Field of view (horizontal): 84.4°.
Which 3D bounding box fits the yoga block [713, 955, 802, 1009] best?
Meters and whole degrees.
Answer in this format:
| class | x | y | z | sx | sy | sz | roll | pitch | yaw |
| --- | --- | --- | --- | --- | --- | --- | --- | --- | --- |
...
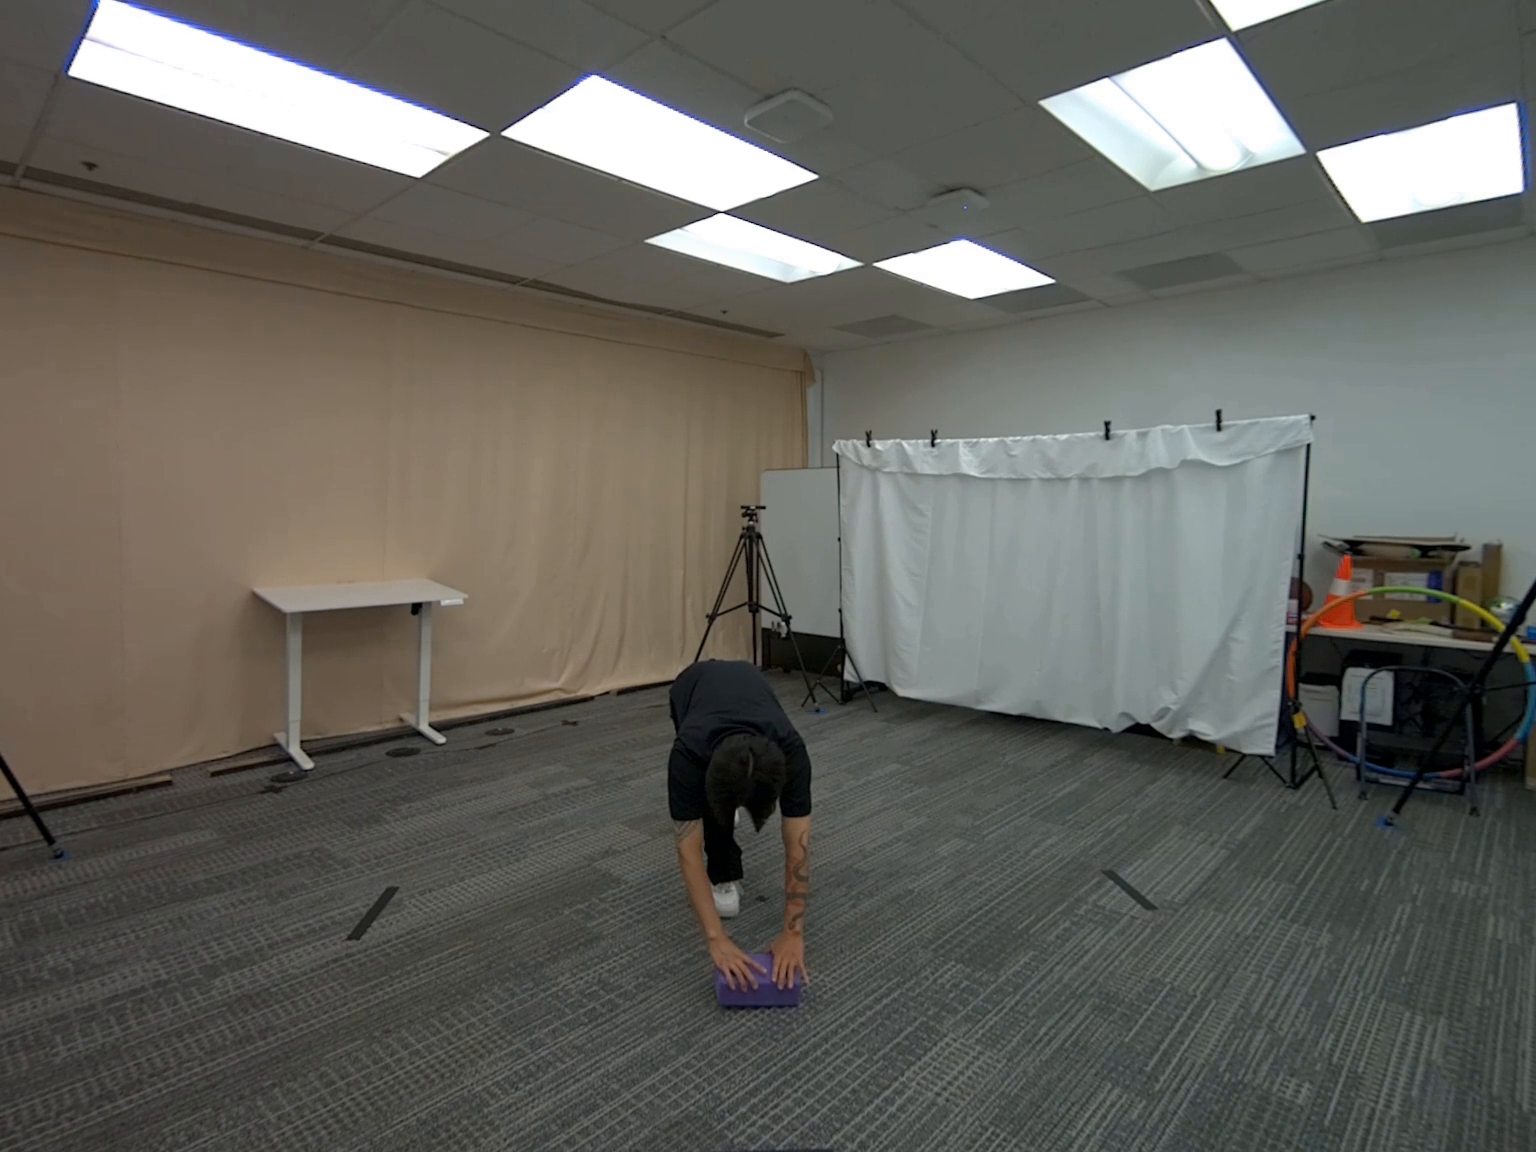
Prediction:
| class | x | y | z | sx | sy | sz | roll | pitch | yaw |
| --- | --- | --- | --- | --- | --- | --- | --- | --- | --- |
| yoga block | -0.028 | 1.145 | 2.389 | 0.227 | 0.076 | 0.150 | 3 | 3 | -7 |
